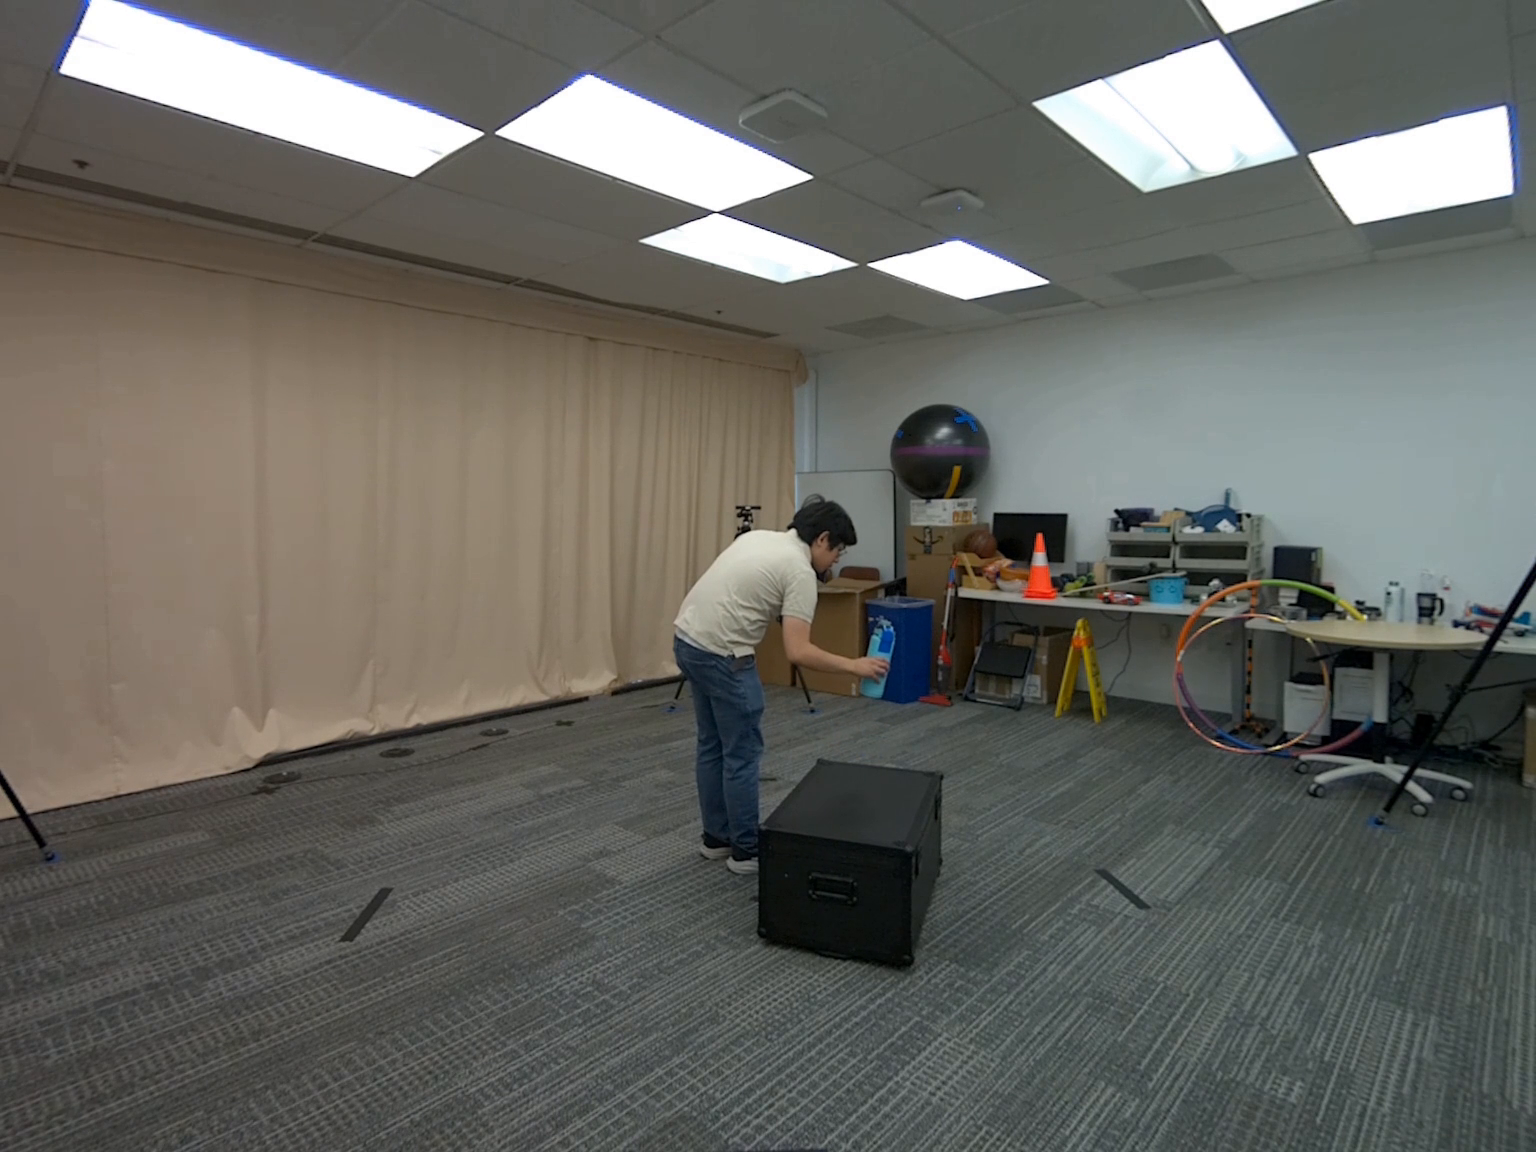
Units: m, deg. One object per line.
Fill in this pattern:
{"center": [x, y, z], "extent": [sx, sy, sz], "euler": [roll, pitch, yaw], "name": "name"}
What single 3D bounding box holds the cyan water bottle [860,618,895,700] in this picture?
{"center": [0.426, 0.316, 3.180], "extent": [0.092, 0.282, 0.093], "euler": [14, 7, -4], "name": "cyan water bottle"}
